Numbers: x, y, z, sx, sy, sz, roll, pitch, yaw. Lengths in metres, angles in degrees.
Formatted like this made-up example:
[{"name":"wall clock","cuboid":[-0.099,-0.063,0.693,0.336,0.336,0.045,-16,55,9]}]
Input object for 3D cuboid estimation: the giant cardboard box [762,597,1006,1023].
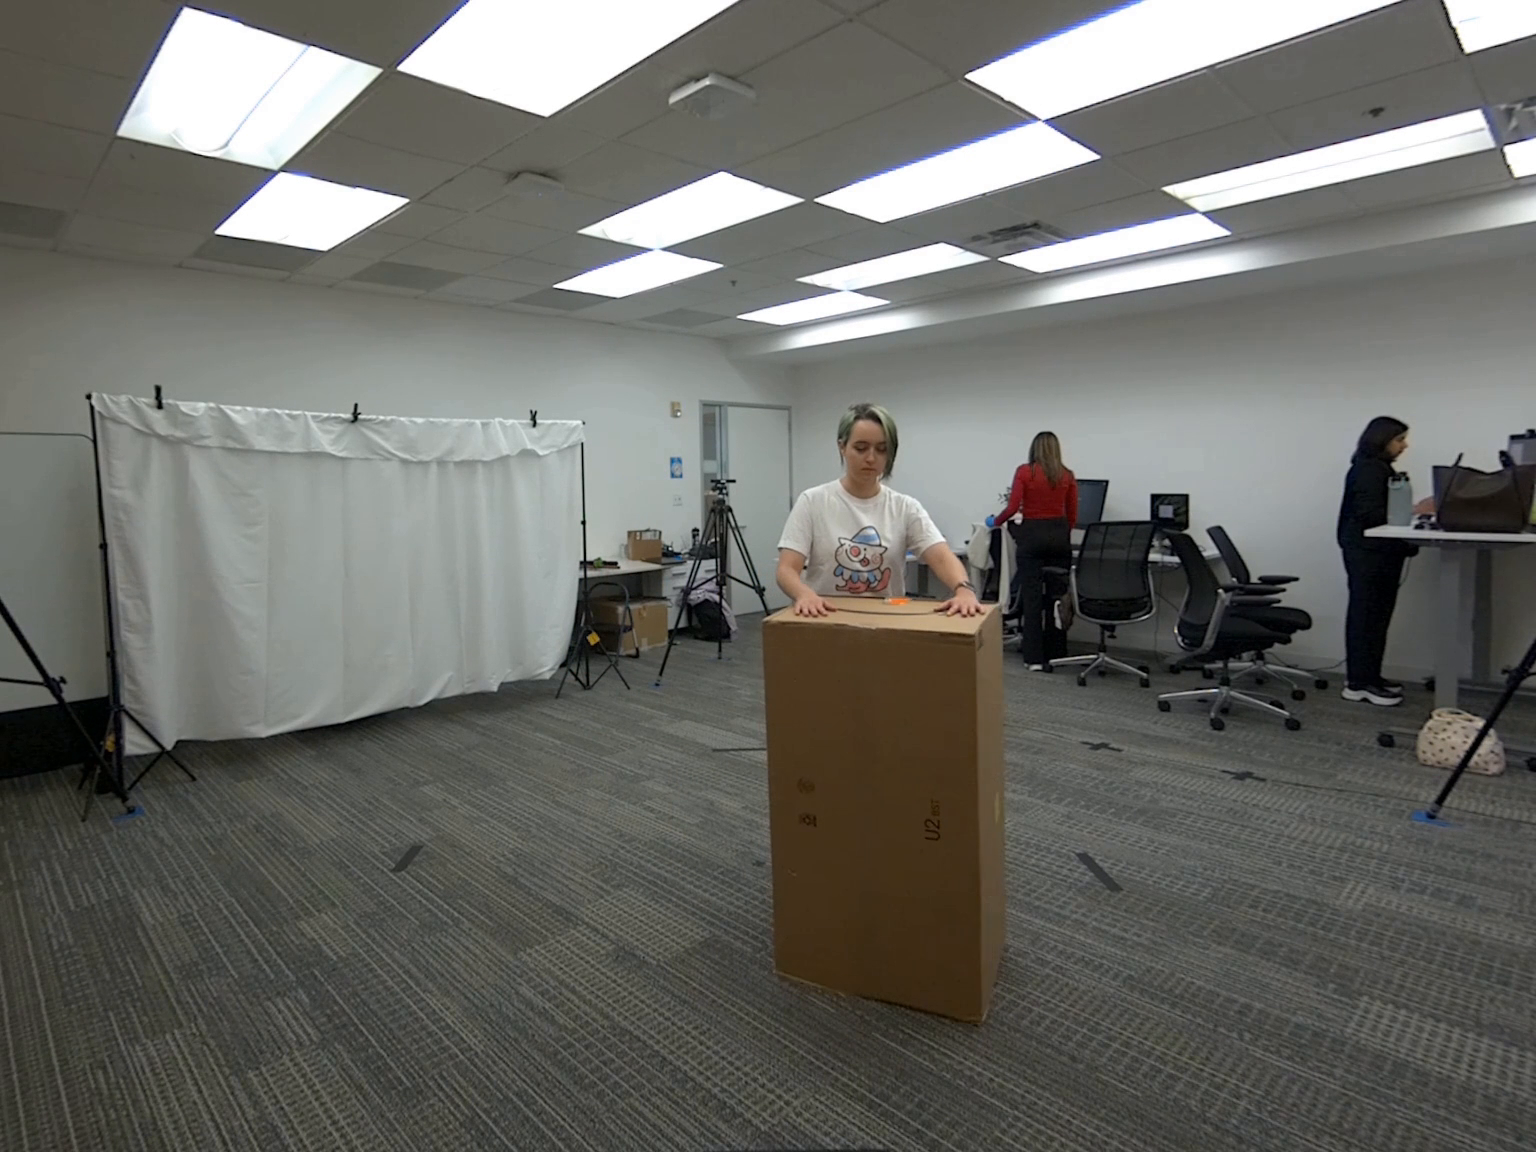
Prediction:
[{"name":"giant cardboard box","cuboid":[0.350,0.609,2.430,0.597,1.021,0.439,0,7,24]}]
